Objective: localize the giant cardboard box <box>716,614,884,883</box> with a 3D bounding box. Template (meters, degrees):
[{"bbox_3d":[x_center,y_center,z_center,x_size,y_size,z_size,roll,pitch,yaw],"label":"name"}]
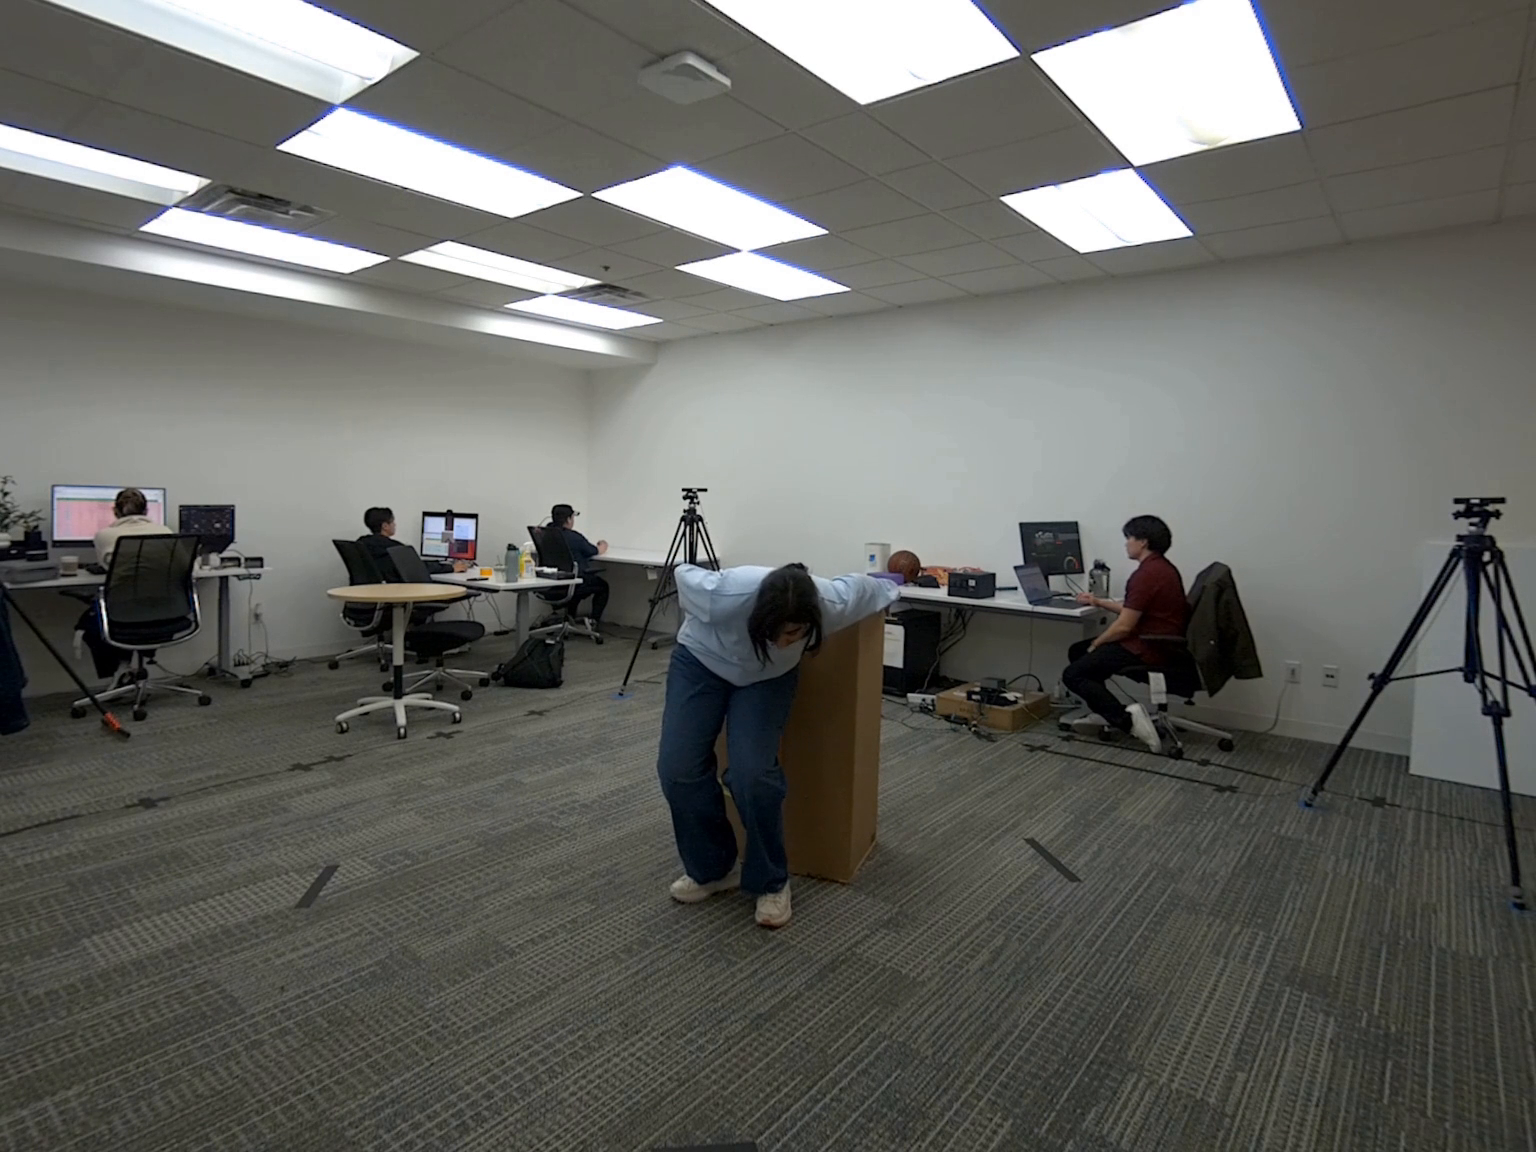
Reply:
[{"bbox_3d":[0.107,0.554,3.295,0.592,1.023,0.417,3,3,23],"label":"giant cardboard box"}]
